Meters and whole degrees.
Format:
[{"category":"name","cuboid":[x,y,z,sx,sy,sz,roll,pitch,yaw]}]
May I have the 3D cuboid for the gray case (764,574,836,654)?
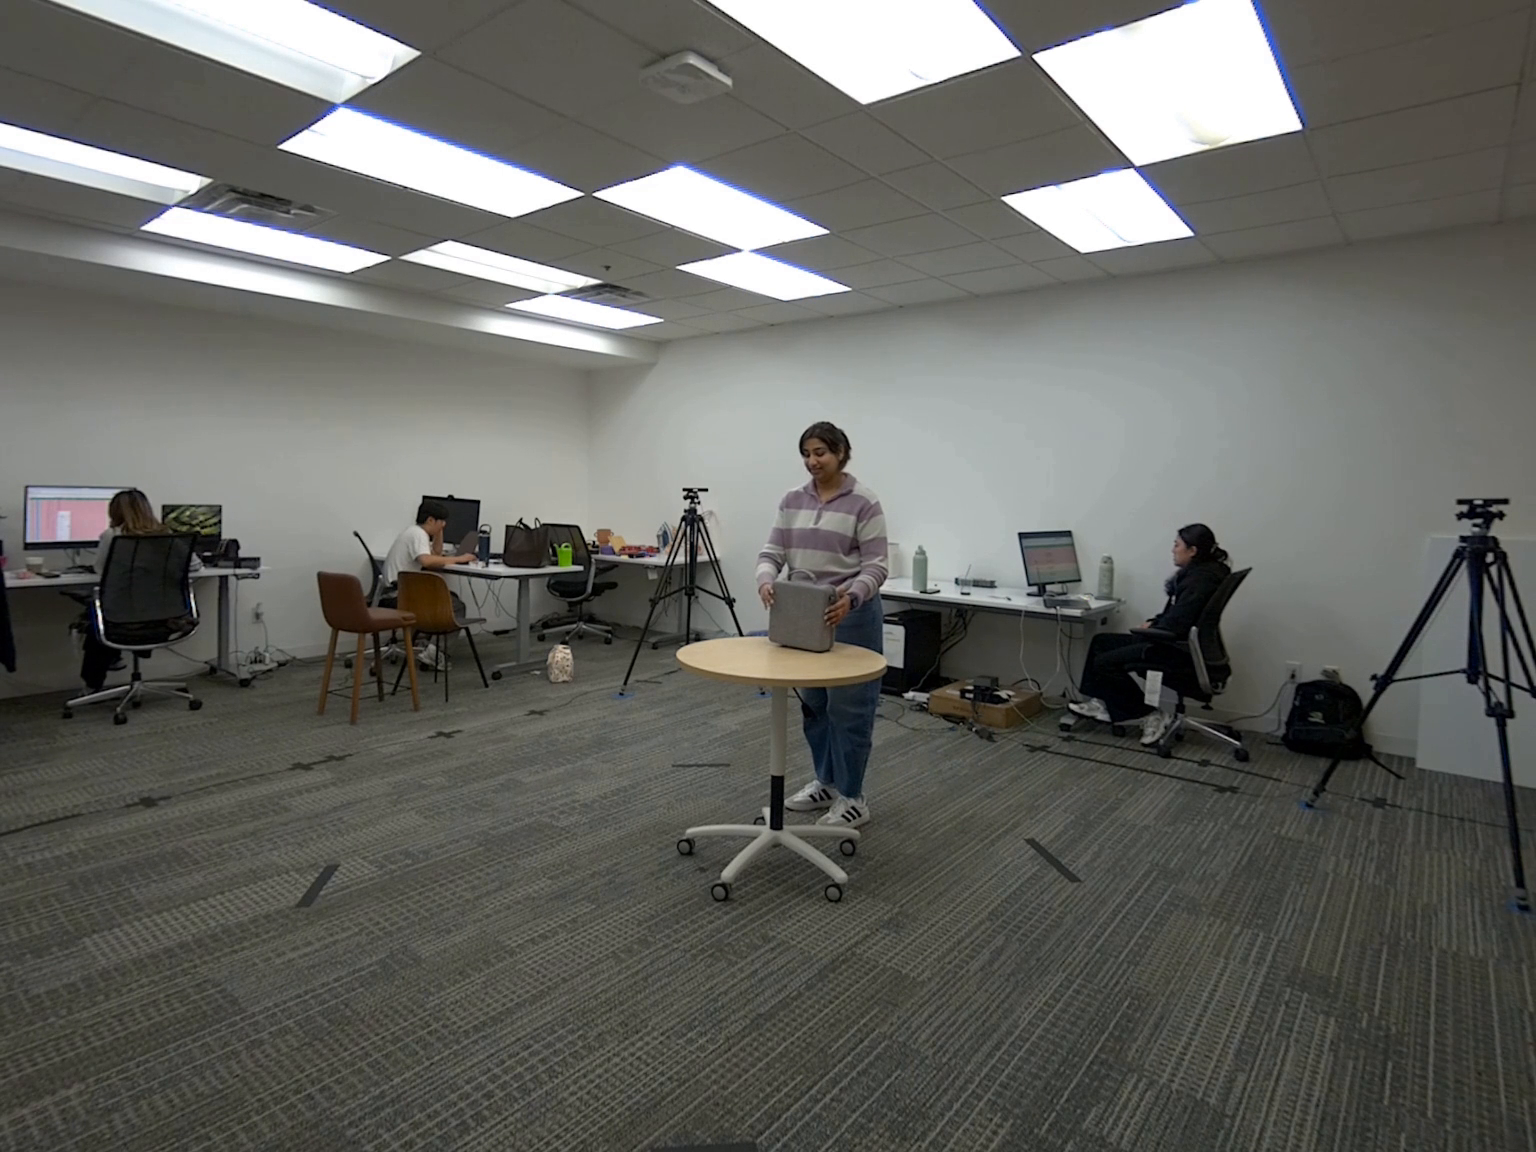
[{"category":"gray case","cuboid":[0.124,0.141,3.254,0.266,0.259,0.101,7,8,37]}]
